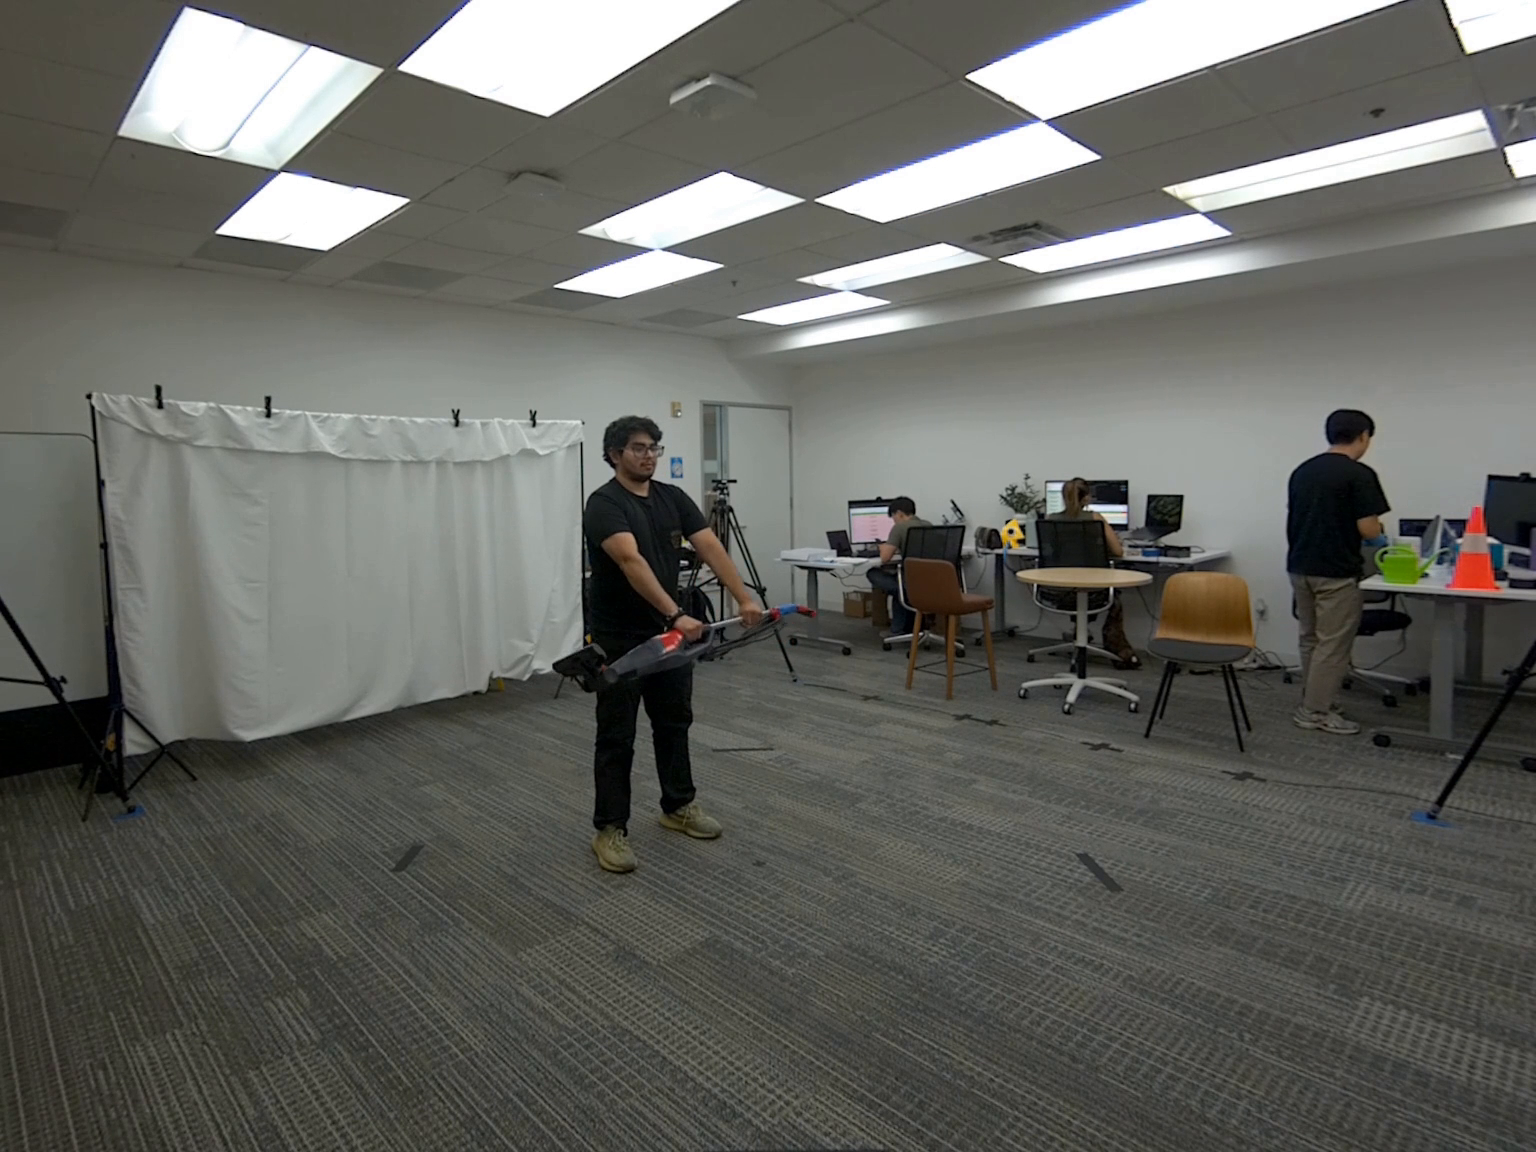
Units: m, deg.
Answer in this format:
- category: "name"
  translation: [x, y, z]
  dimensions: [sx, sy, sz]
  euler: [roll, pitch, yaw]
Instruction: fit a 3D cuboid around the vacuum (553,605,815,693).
- category: "vacuum"
  translation: [-0.192, 0.225, 2.932]
  dimensions: [1.024, 0.146, 0.256]
  euler: [-10, -12, -44]
